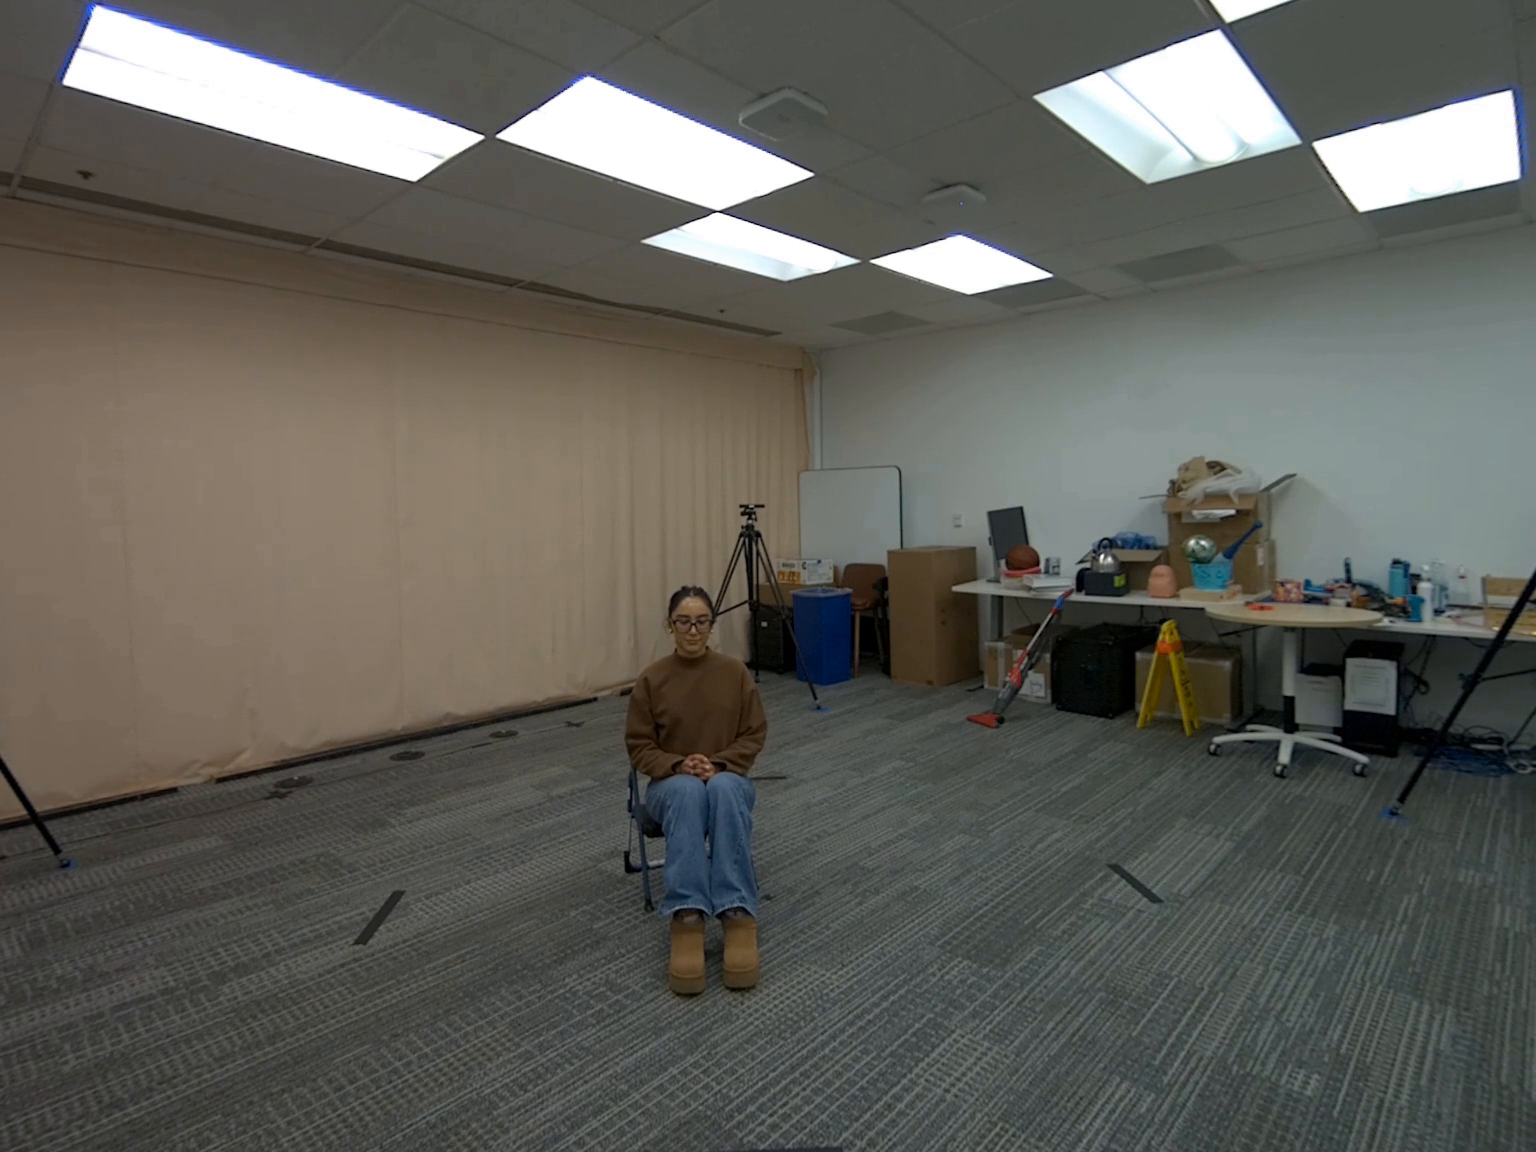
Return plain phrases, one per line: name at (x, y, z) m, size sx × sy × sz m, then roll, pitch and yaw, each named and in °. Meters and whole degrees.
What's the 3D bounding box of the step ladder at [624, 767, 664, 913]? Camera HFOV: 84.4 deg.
step ladder at (-0.298, 0.838, 3.121) m, size 0.421 × 0.605 × 0.357 m, roll -2°, pitch 3°, yaw -23°
